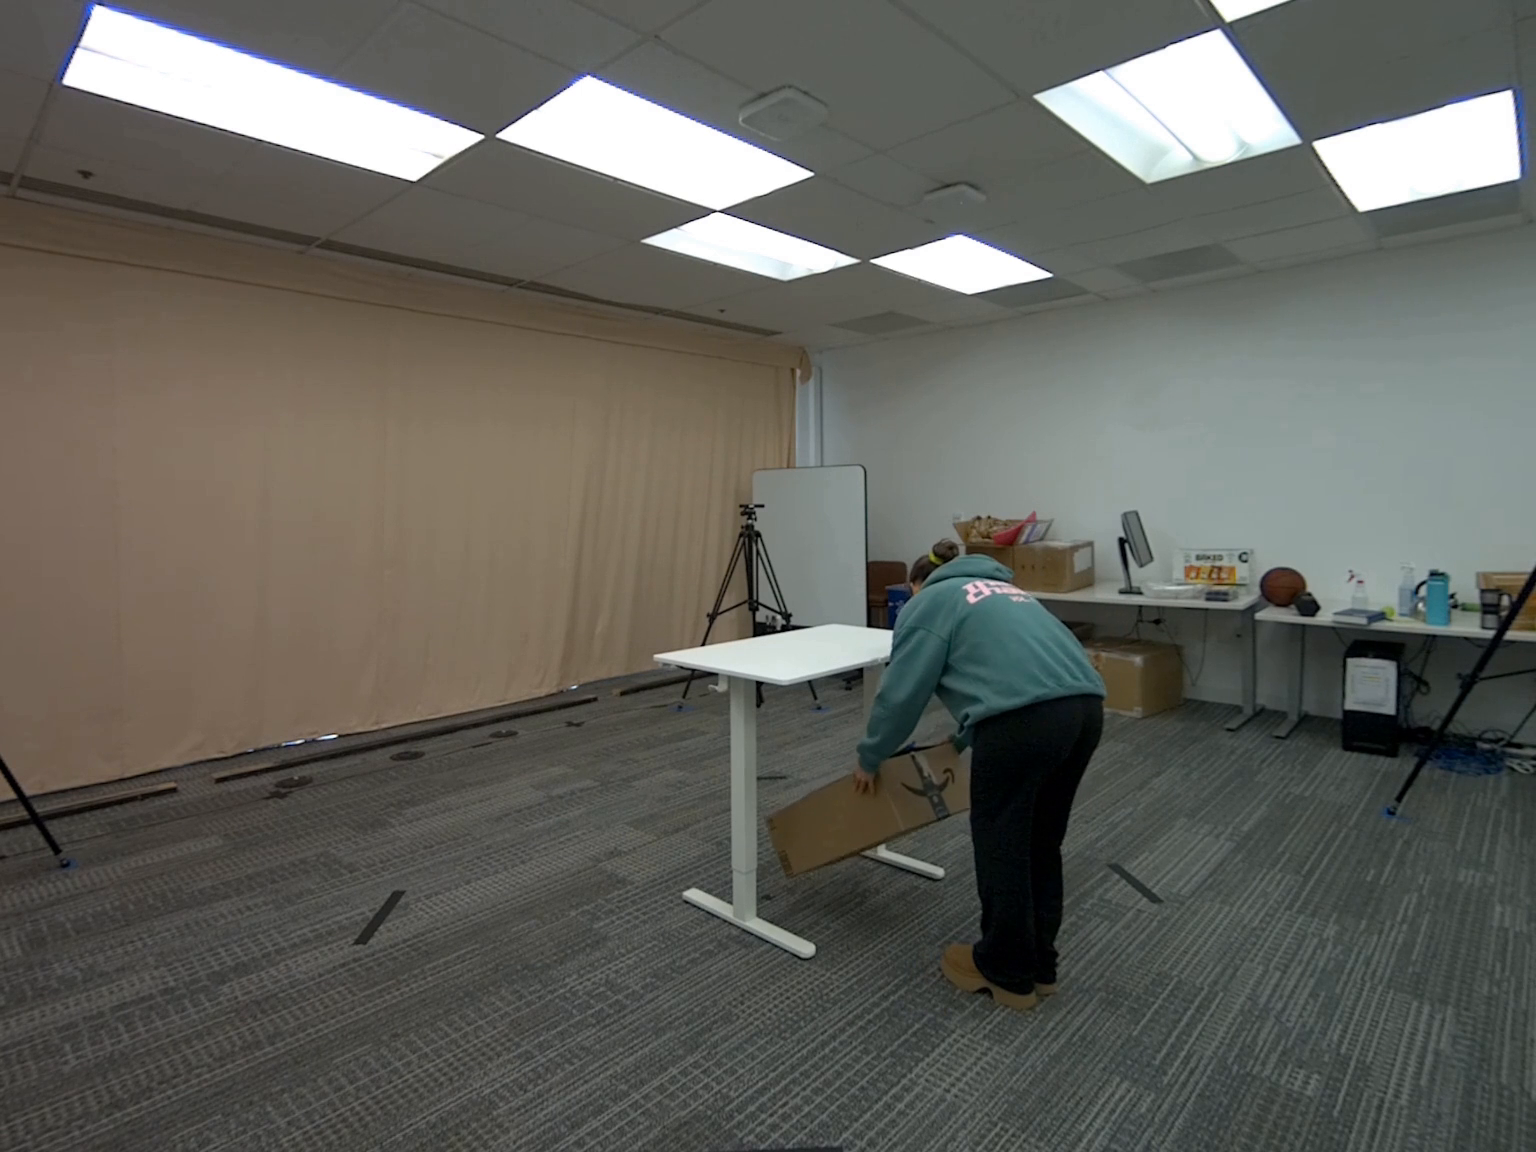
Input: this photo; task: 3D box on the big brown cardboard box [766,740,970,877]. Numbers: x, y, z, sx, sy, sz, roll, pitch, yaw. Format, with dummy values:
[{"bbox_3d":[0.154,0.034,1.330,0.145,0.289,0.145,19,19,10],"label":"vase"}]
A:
[{"bbox_3d":[0.343,0.788,2.844,0.404,0.238,0.596,0,-28,-44],"label":"big brown cardboard box"}]
